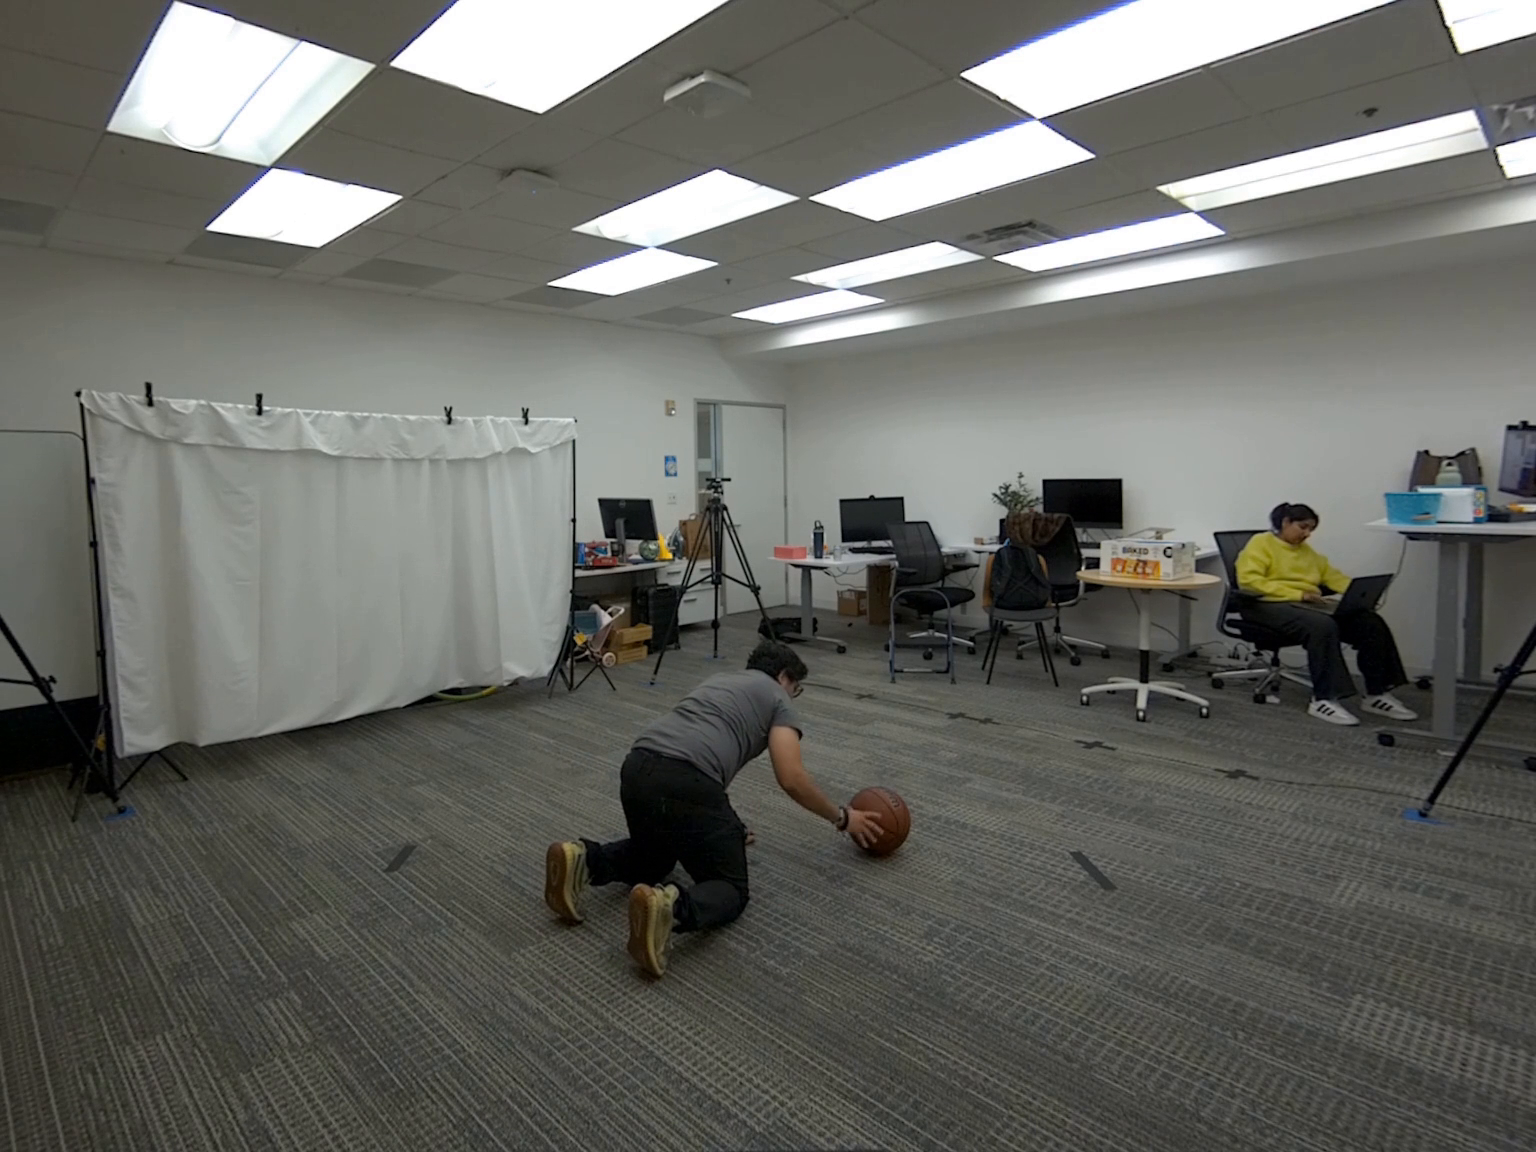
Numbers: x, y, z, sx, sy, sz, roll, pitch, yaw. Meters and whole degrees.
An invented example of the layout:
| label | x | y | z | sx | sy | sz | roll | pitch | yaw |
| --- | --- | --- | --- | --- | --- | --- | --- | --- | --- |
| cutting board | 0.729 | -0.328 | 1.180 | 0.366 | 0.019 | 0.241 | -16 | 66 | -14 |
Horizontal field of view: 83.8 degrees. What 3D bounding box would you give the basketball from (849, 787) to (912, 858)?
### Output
| label | x | y | z | sx | sy | sz | roll | pitch | yaw |
| --- | --- | --- | --- | --- | --- | --- | --- | --- | --- |
| basketball | 0.414 | 0.905 | 3.171 | 0.236 | 0.235 | 0.237 | -1 | 5 | -2 |
